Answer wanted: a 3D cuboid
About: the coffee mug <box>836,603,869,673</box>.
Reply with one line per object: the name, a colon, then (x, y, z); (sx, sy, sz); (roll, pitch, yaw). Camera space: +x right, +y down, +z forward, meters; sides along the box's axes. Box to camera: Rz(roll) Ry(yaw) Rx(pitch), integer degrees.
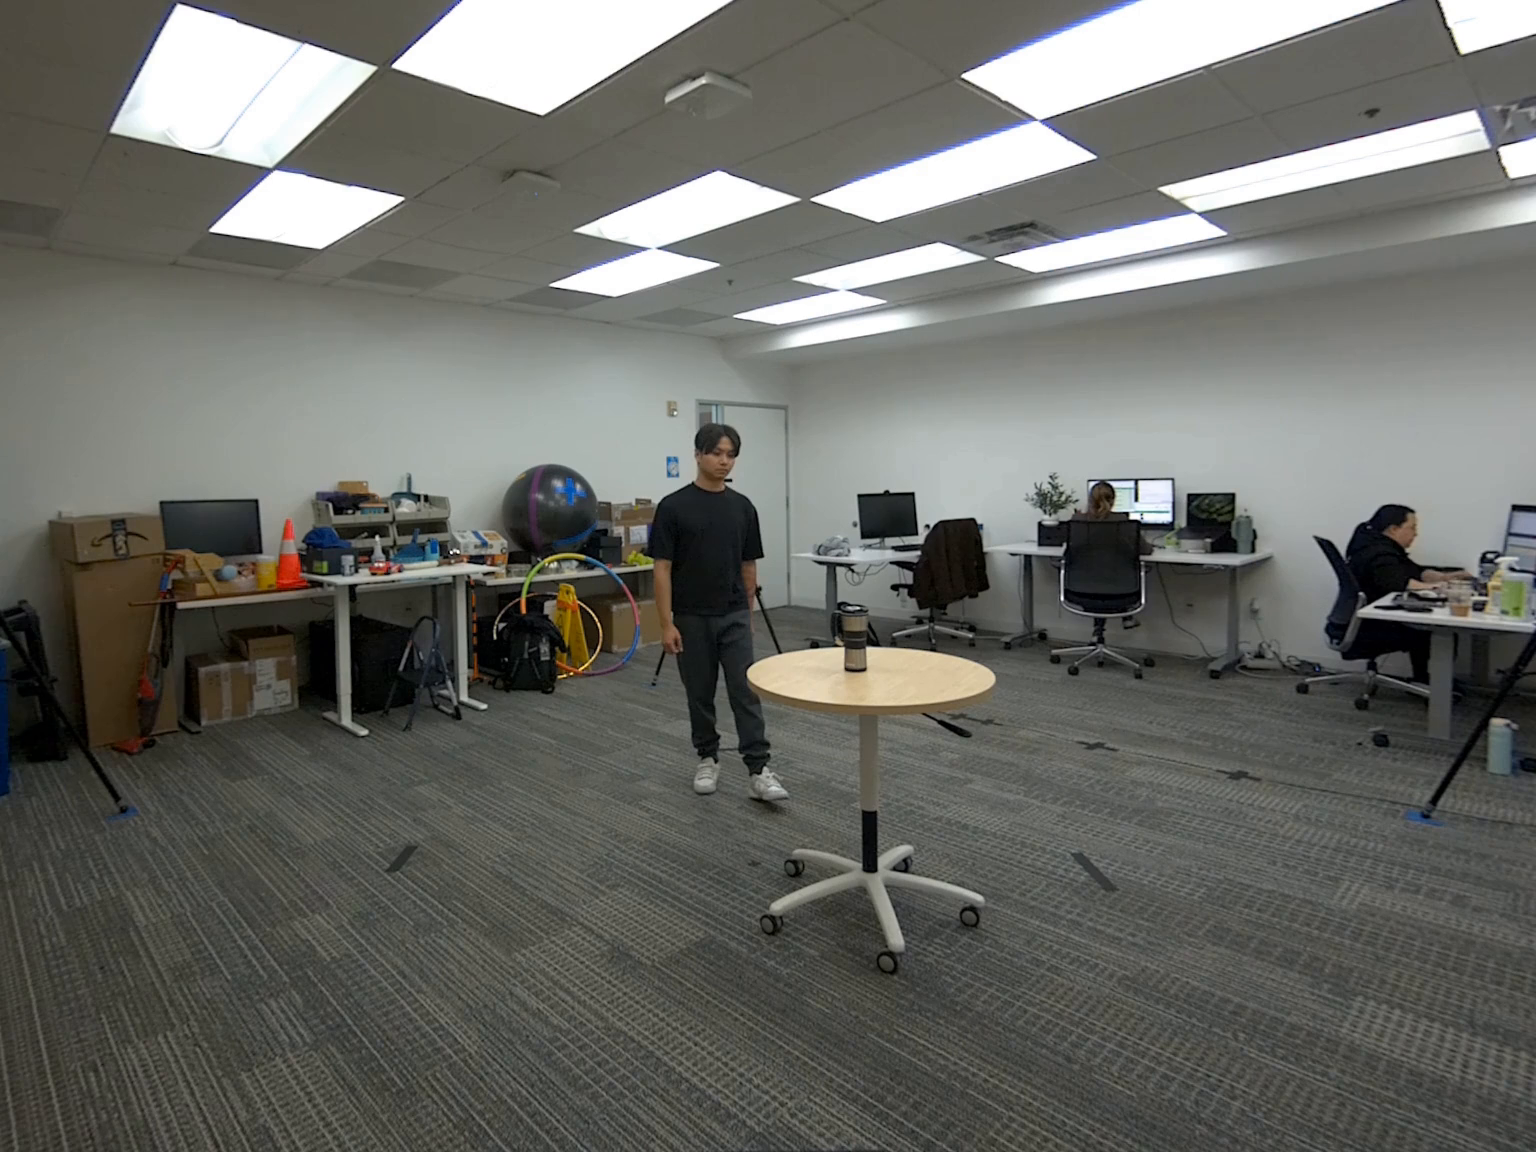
coffee mug: (0.274, 0.199, 2.731); (0.086, 0.201, 0.126); (-8, 11, -30)
